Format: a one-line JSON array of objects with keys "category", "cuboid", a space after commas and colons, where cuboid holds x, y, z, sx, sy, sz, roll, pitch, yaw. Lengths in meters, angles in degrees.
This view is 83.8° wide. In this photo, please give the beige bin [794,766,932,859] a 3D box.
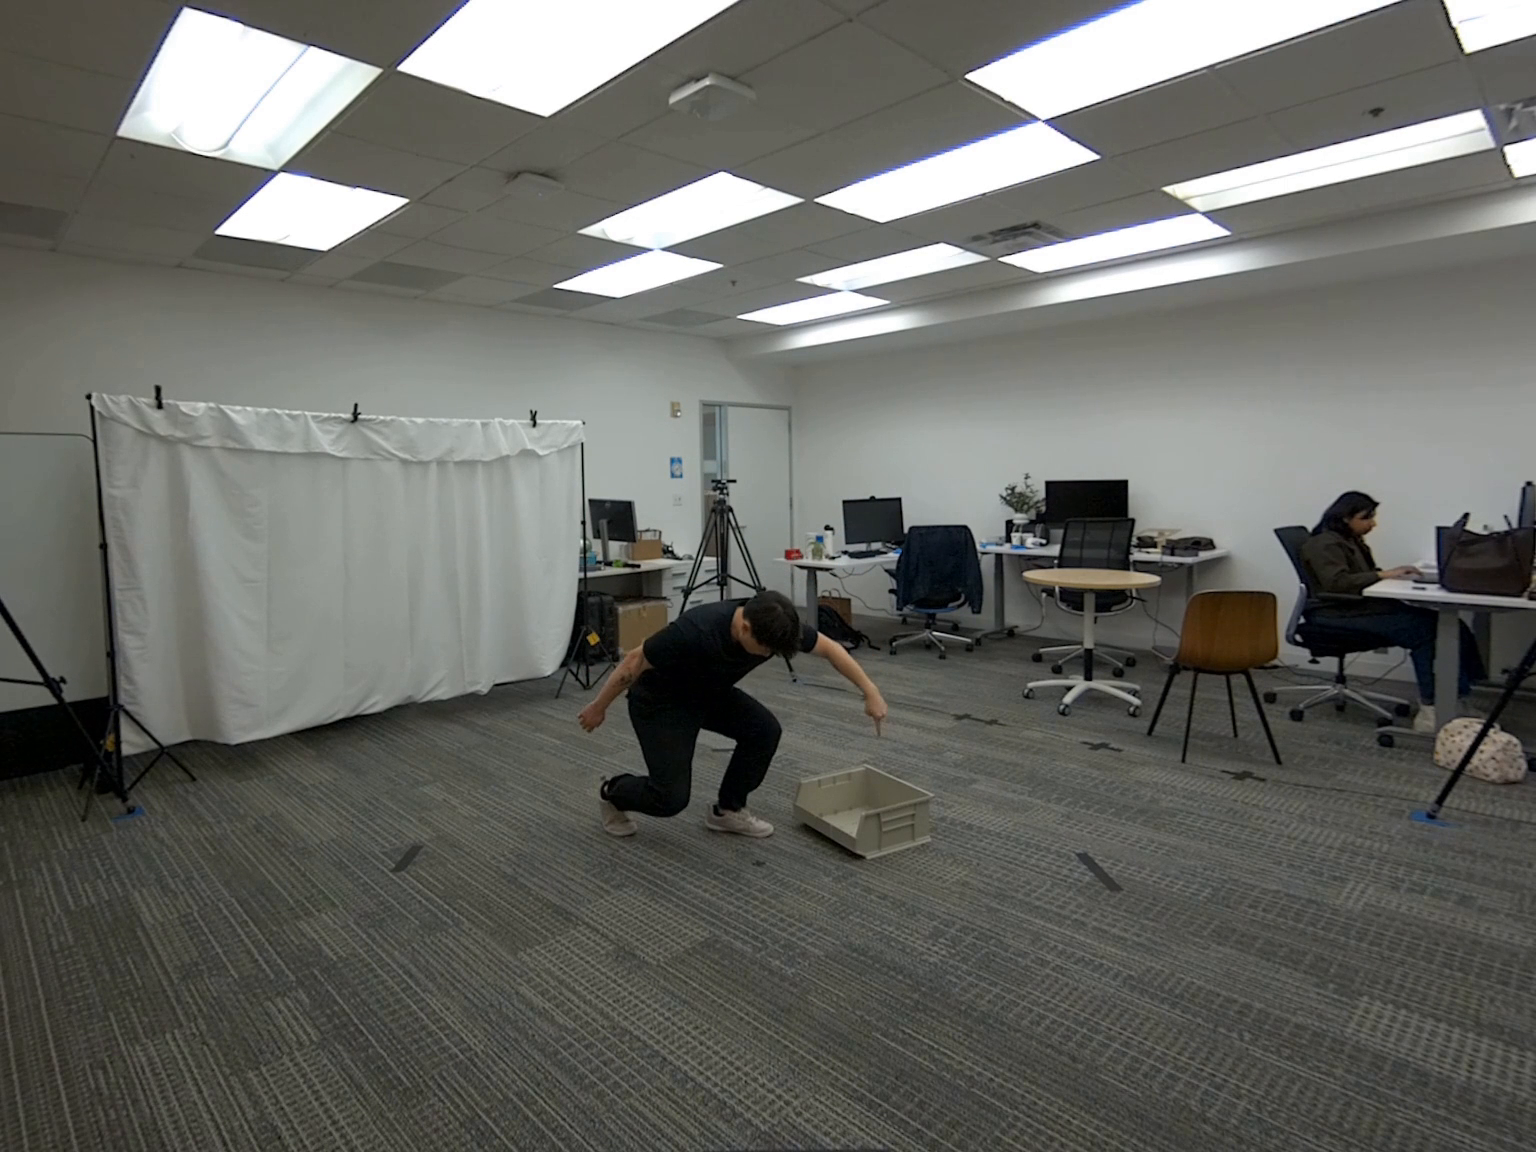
[{"category": "beige bin", "cuboid": [0.368, 0.923, 3.359, 0.368, 0.188, 0.434, -4, 5, -30]}]
